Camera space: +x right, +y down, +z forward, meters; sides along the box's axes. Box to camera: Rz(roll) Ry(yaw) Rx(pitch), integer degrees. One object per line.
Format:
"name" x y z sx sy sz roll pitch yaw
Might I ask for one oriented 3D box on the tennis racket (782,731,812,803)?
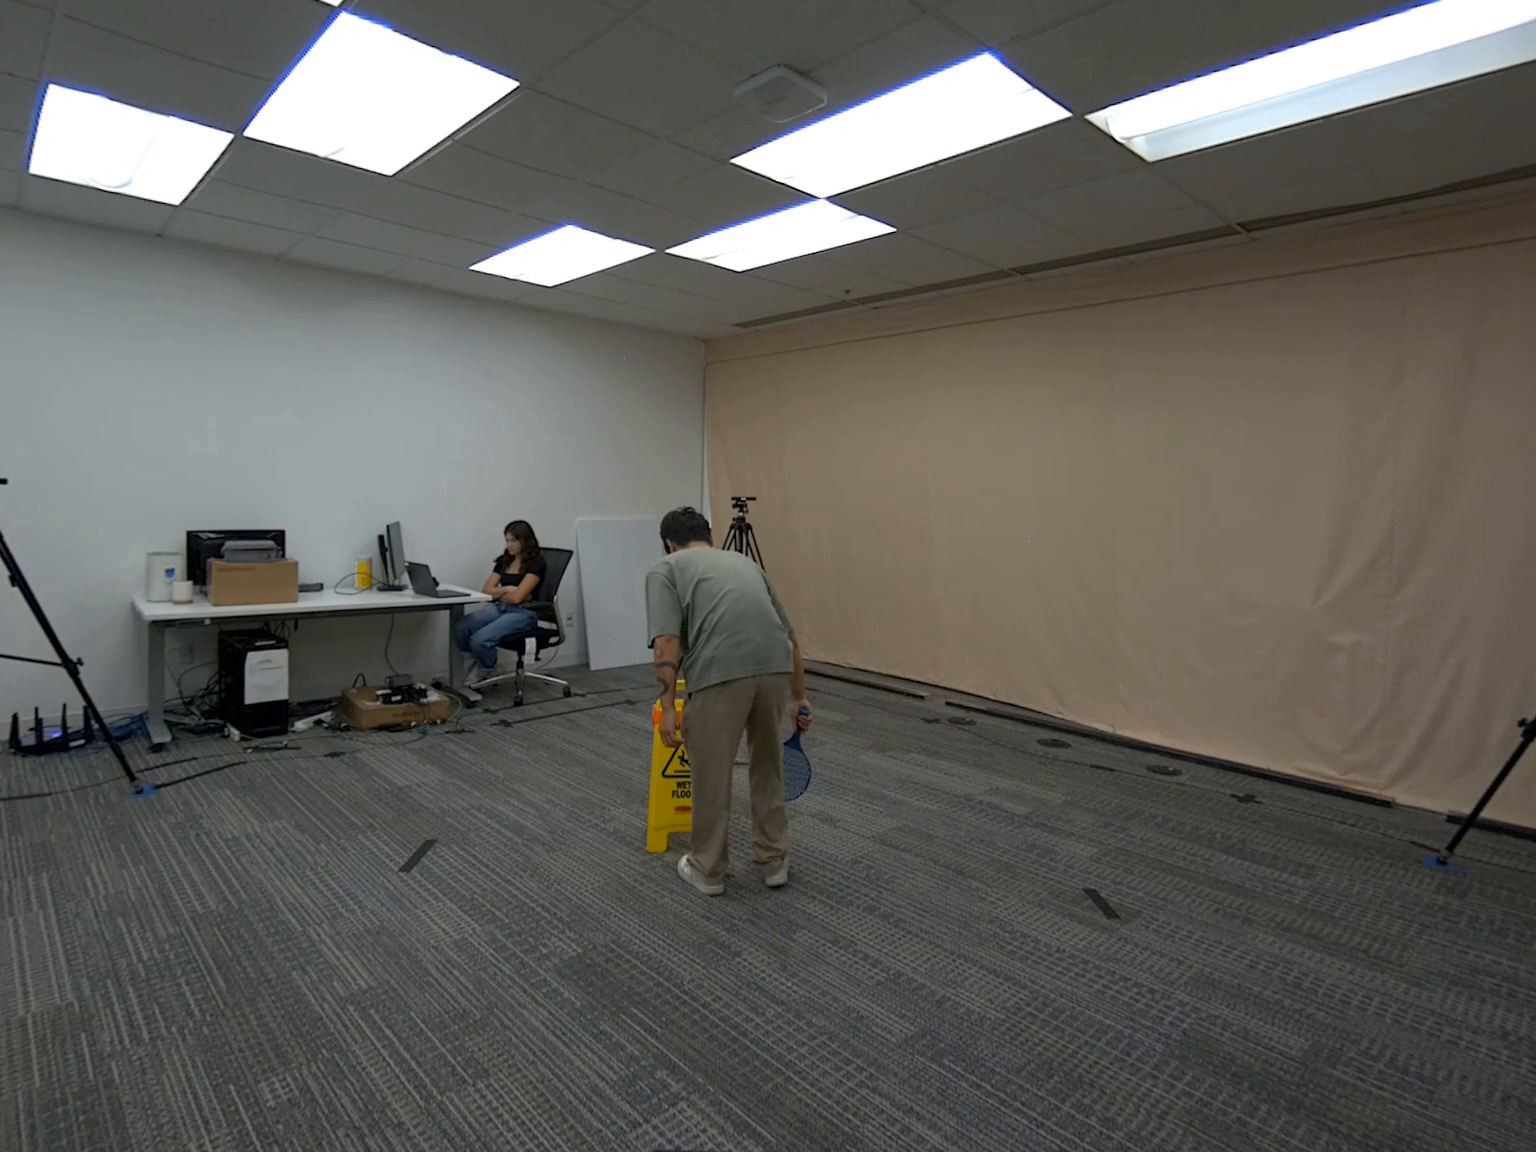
"tennis racket" 0.072 0.712 3.295 0.214 0.430 0.032 15 13 2
